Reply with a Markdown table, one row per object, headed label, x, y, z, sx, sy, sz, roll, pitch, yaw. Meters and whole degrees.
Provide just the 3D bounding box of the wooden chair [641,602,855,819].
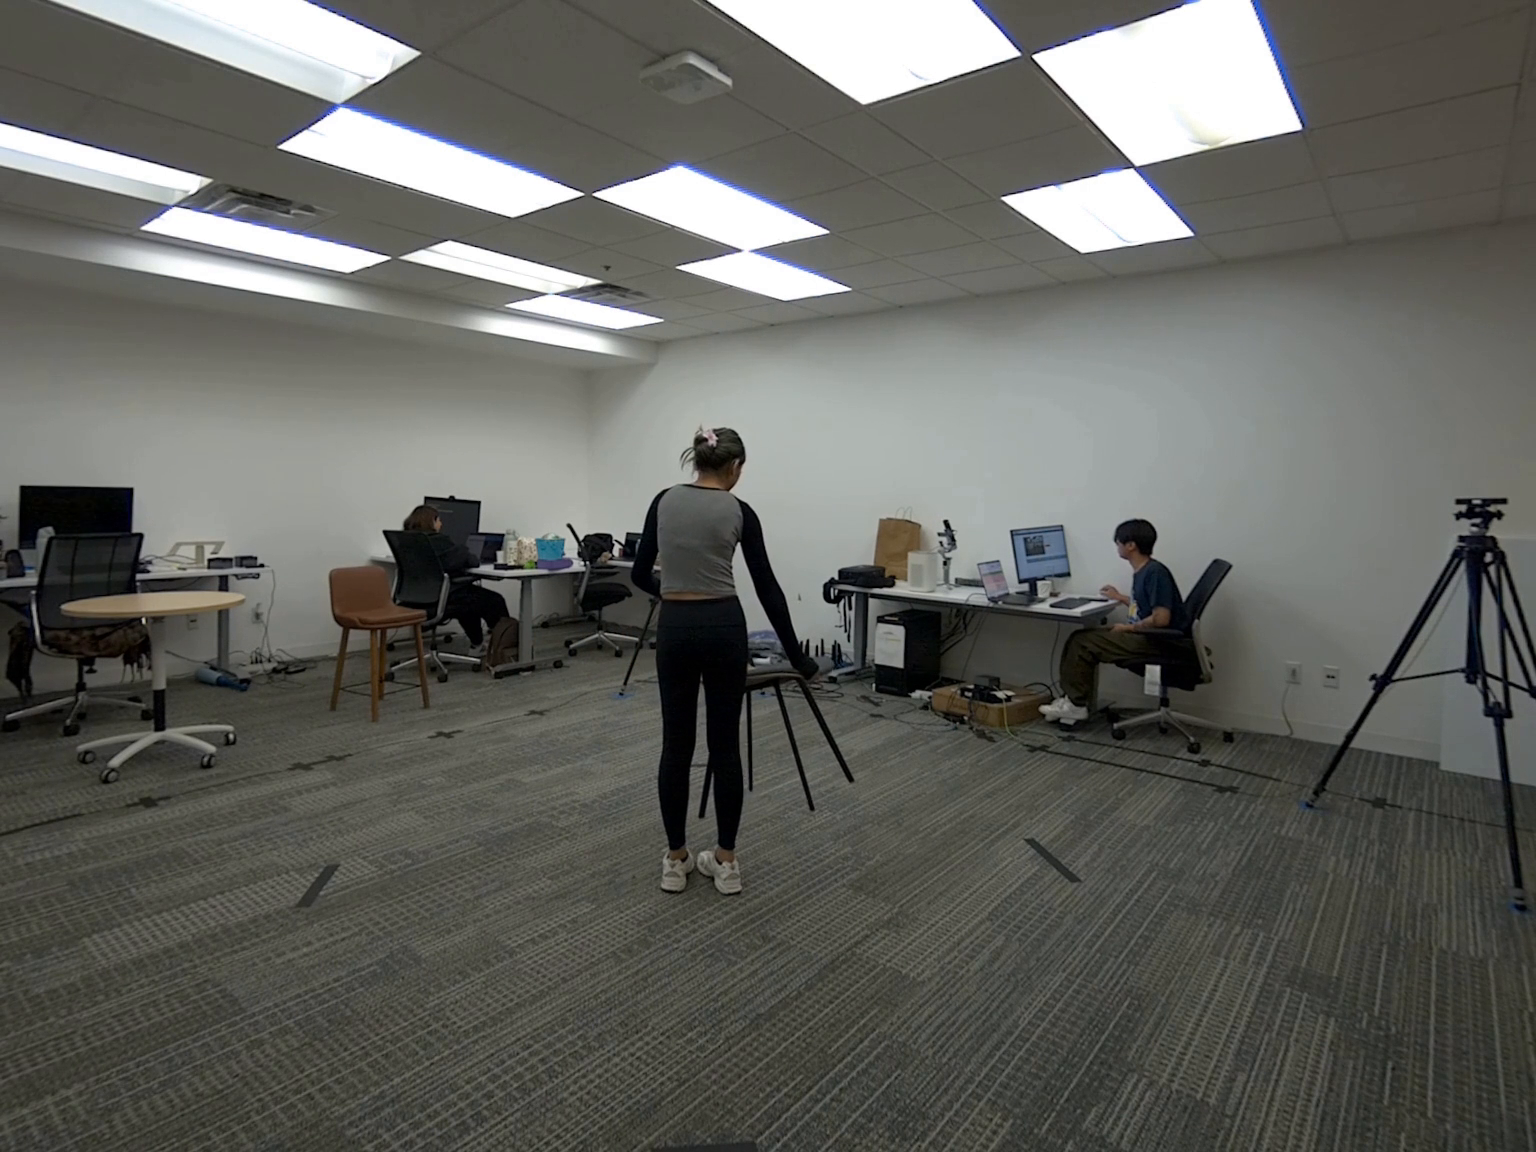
| label | x | y | z | sx | sy | sz | roll | pitch | yaw |
| --- | --- | --- | --- | --- | --- | --- | --- | --- | --- |
| wooden chair | -0.027 | 0.424 | 3.251 | 0.532 | 0.887 | 0.465 | -16 | -9 | 25 |
